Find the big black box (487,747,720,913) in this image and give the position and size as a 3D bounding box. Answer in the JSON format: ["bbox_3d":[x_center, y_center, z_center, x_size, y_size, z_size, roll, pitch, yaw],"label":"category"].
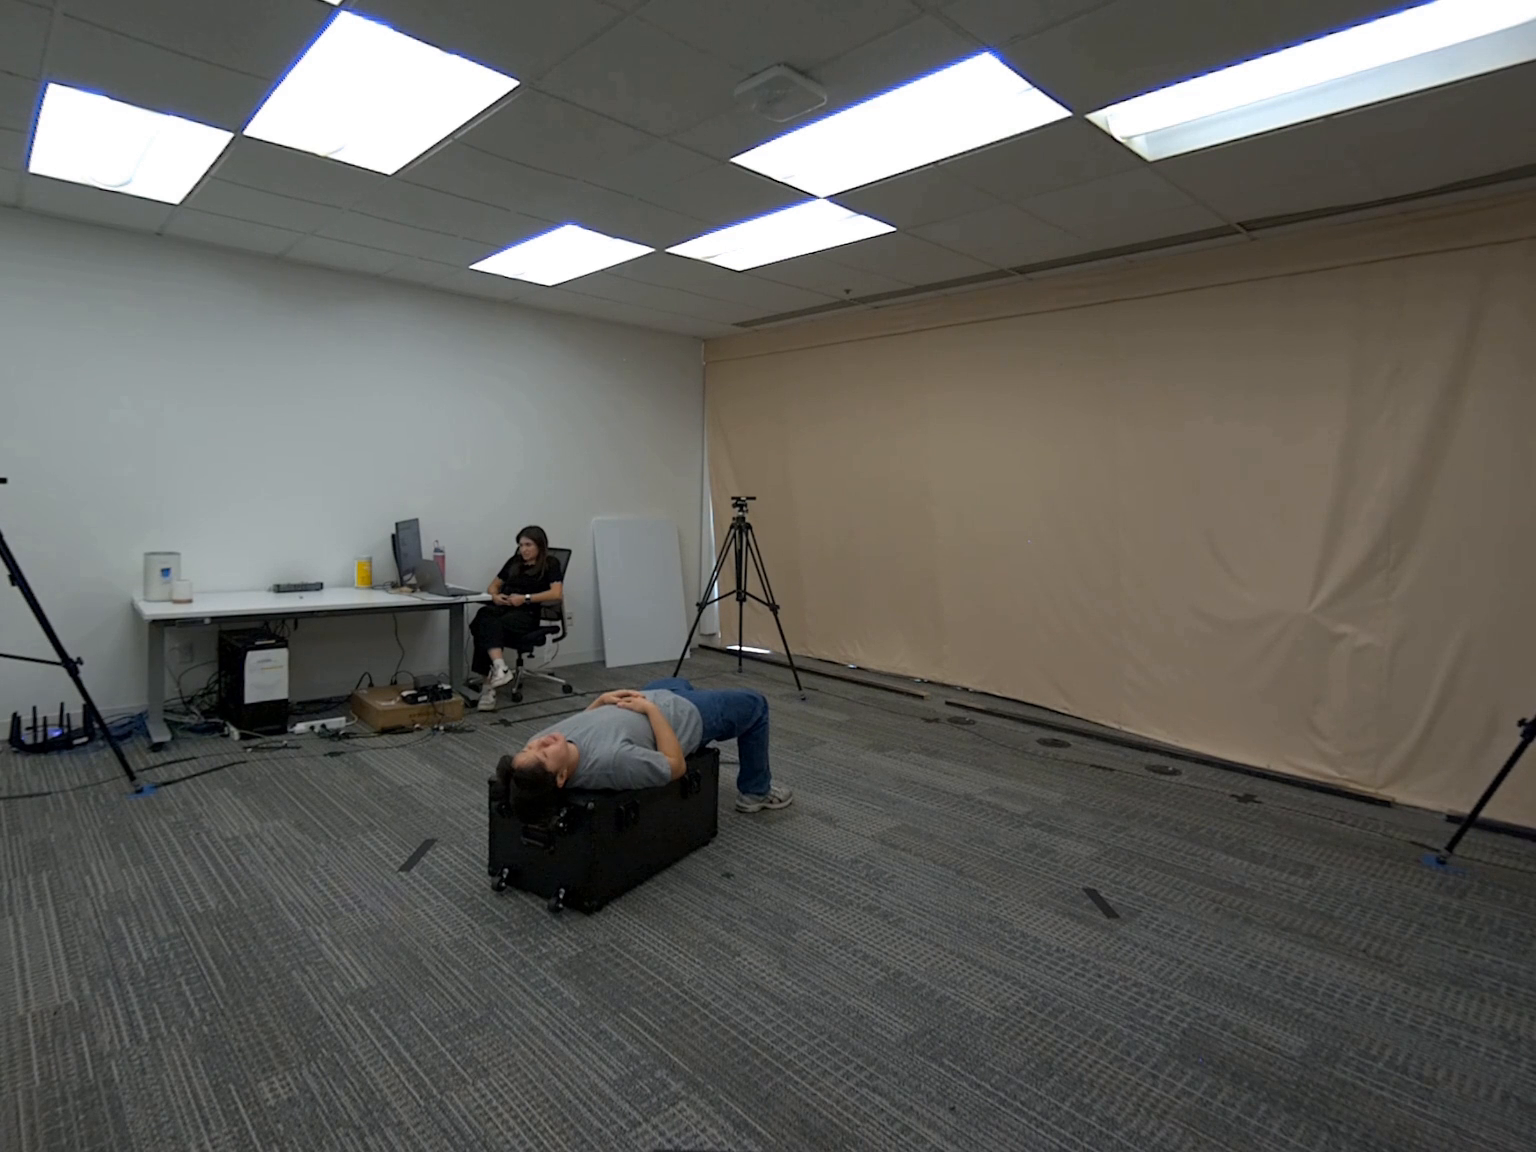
[{"bbox_3d":[-0.623,0.906,3.180,0.533,0.395,0.845,5,6,30],"label":"big black box"}]
